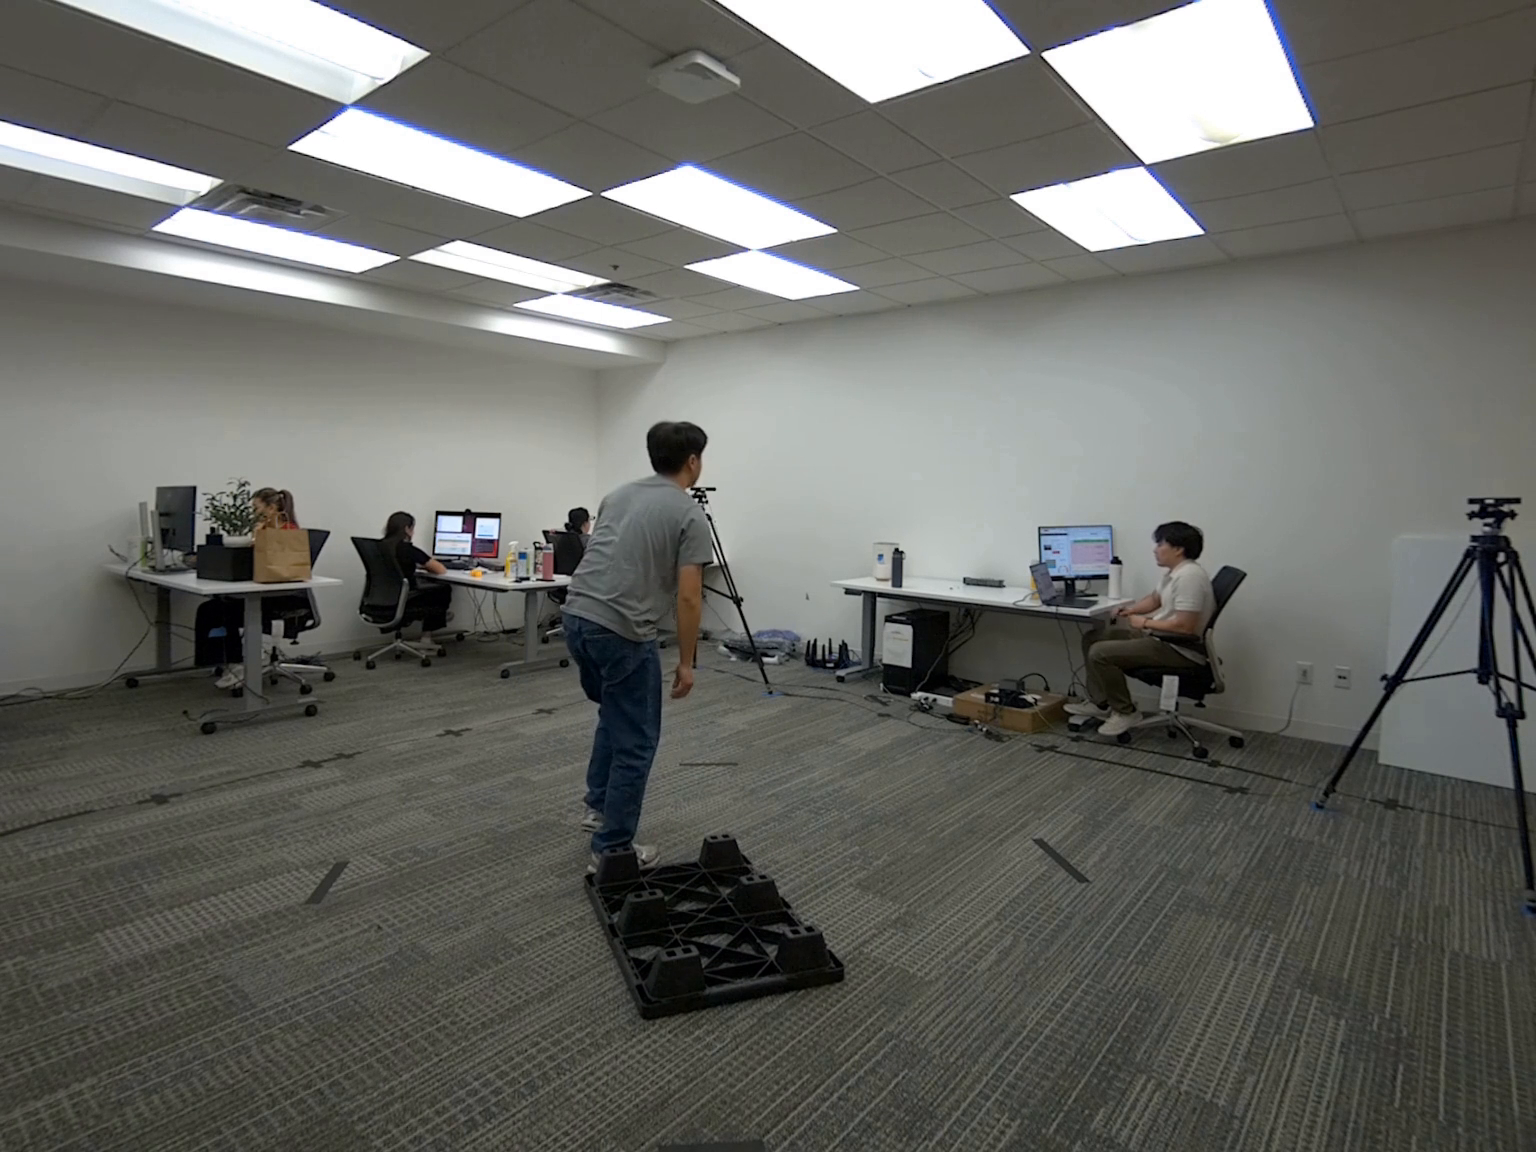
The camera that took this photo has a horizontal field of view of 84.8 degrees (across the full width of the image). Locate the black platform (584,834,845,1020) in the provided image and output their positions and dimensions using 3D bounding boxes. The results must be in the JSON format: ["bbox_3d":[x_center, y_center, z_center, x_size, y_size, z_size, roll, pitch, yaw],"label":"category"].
[{"bbox_3d":[-0.222,1.040,2.683,0.592,0.143,0.826,-1,6,-23],"label":"black platform"}]
